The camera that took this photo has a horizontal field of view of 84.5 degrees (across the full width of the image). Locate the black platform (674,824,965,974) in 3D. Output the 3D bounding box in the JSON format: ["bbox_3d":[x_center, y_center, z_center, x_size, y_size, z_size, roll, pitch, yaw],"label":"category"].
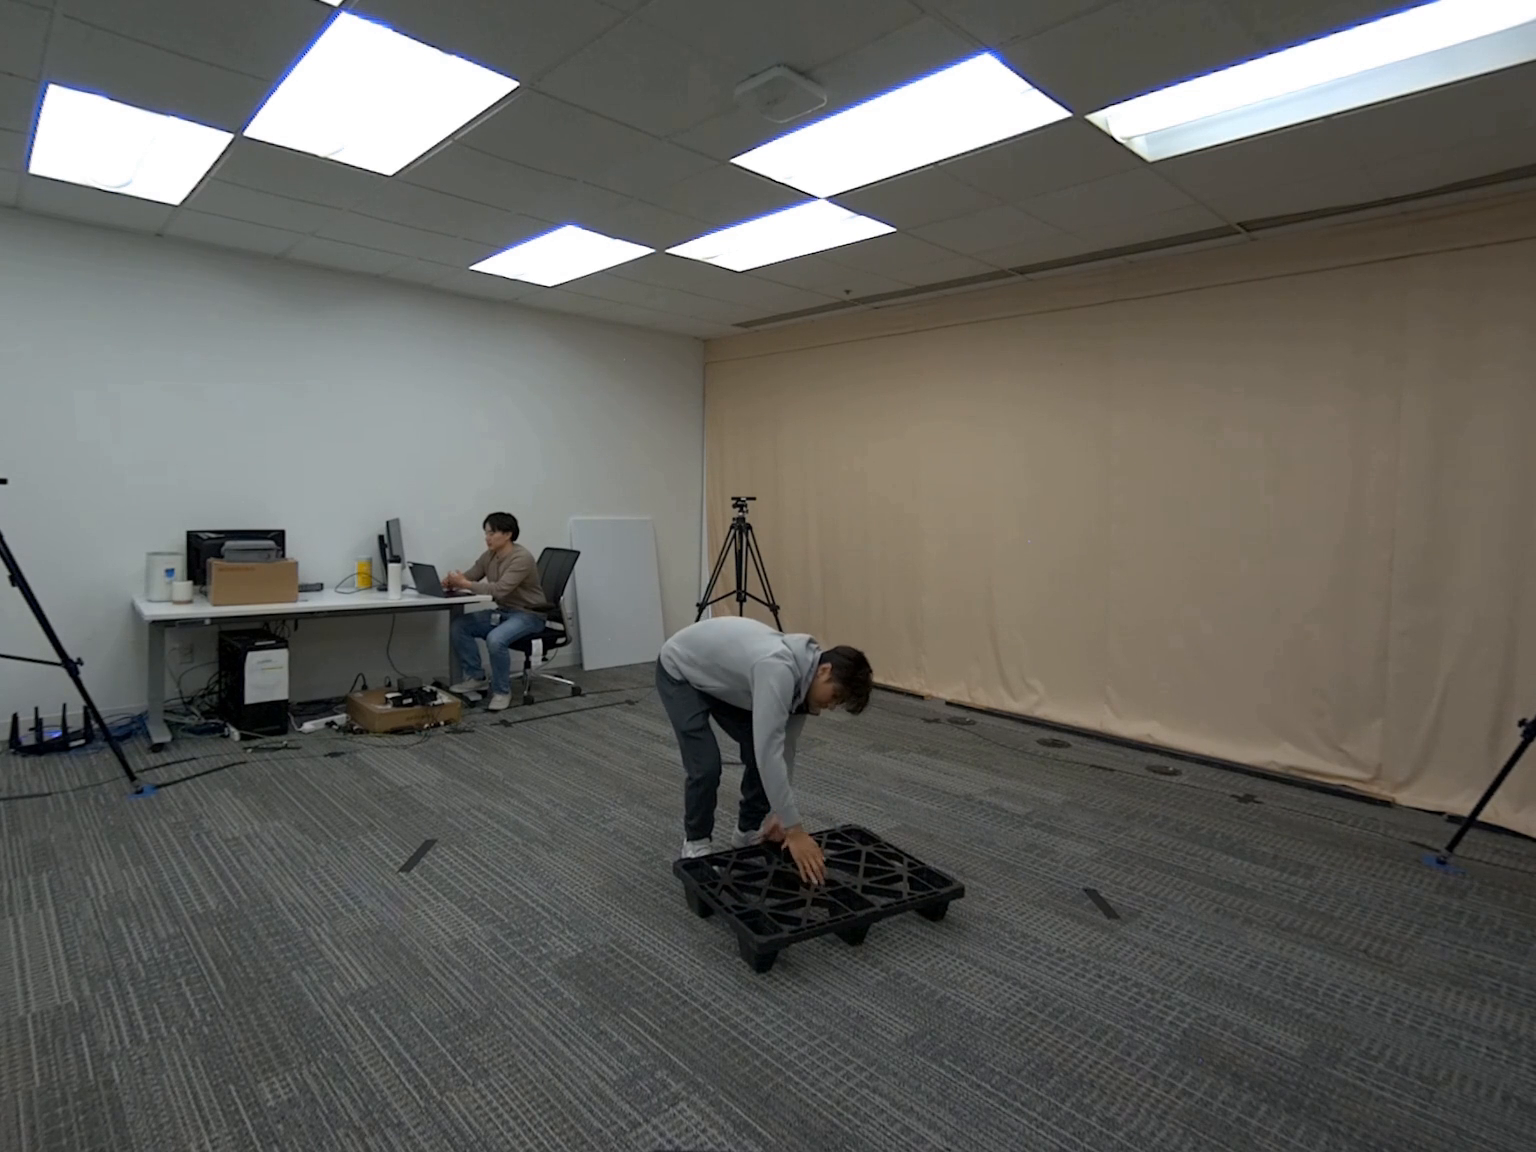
[{"bbox_3d":[0.148,1.072,2.840,0.789,0.143,0.619,-2,5,-30],"label":"black platform"}]
